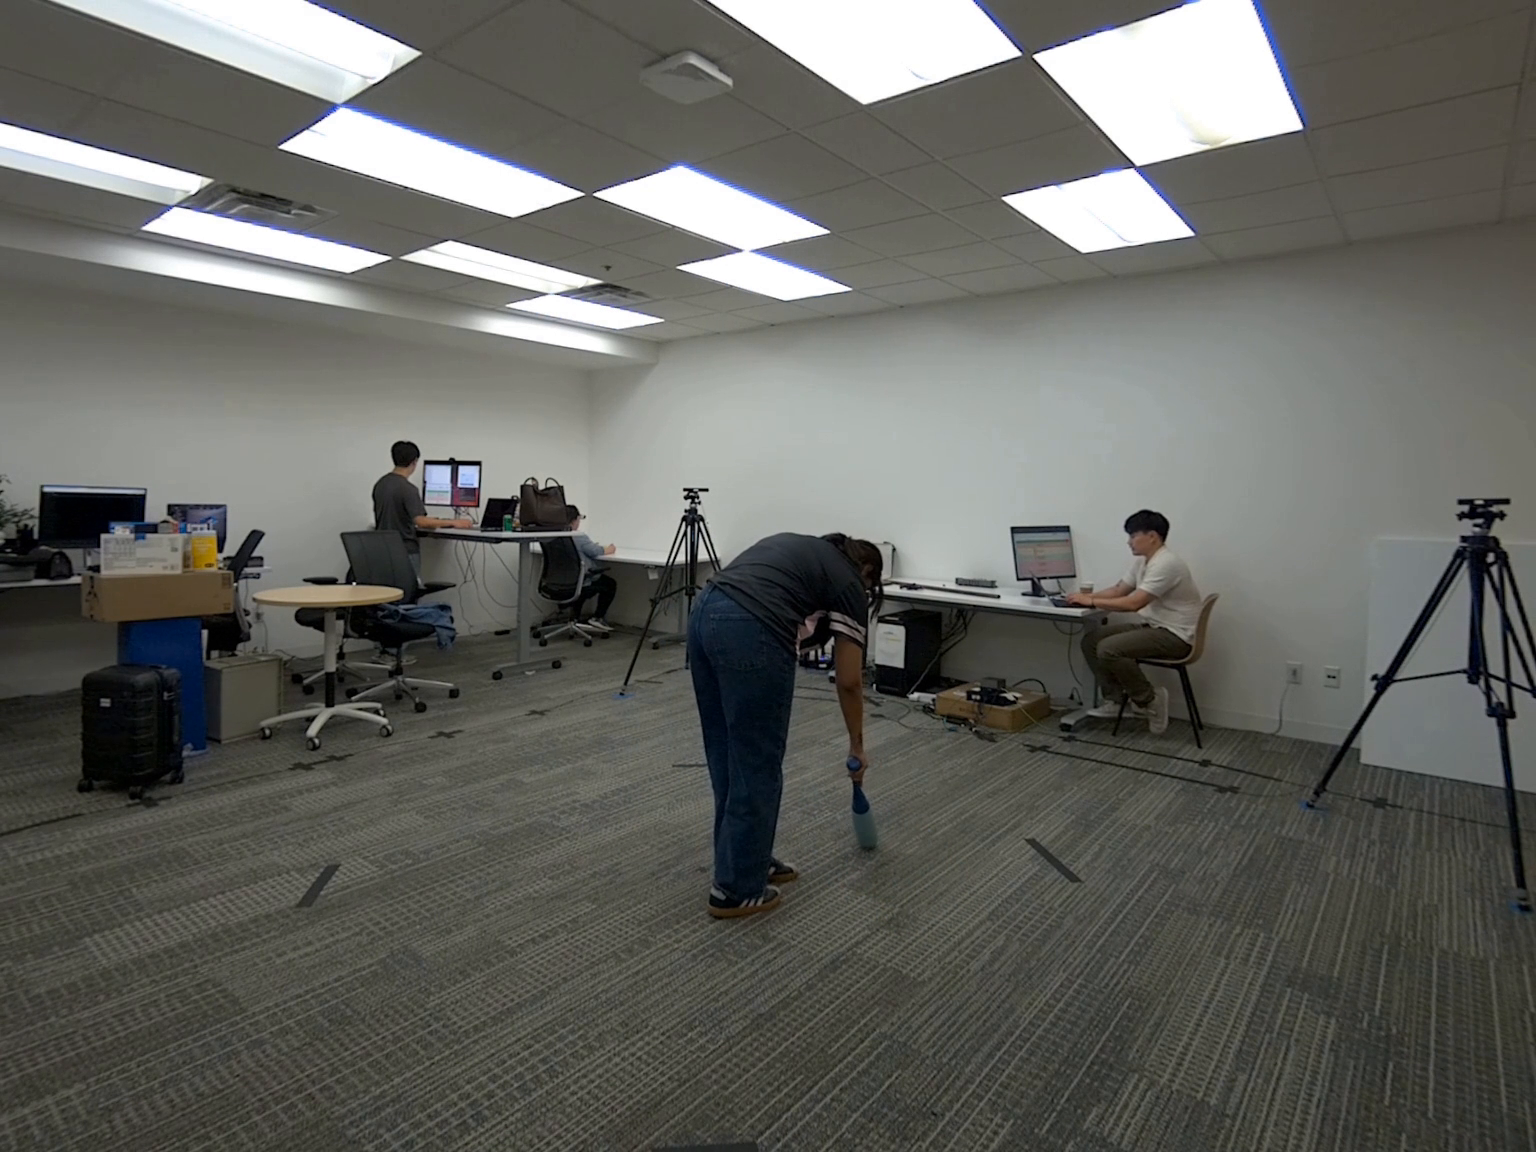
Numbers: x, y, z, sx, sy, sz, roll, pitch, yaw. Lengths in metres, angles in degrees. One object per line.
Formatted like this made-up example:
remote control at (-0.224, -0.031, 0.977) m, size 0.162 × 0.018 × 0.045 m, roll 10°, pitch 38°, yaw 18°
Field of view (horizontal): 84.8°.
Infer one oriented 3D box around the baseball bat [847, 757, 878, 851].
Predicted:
baseball bat at (0.331, 0.849, 3.180) m, size 0.090 × 0.523 × 0.092 m, roll -10°, pitch 42°, yaw 7°
